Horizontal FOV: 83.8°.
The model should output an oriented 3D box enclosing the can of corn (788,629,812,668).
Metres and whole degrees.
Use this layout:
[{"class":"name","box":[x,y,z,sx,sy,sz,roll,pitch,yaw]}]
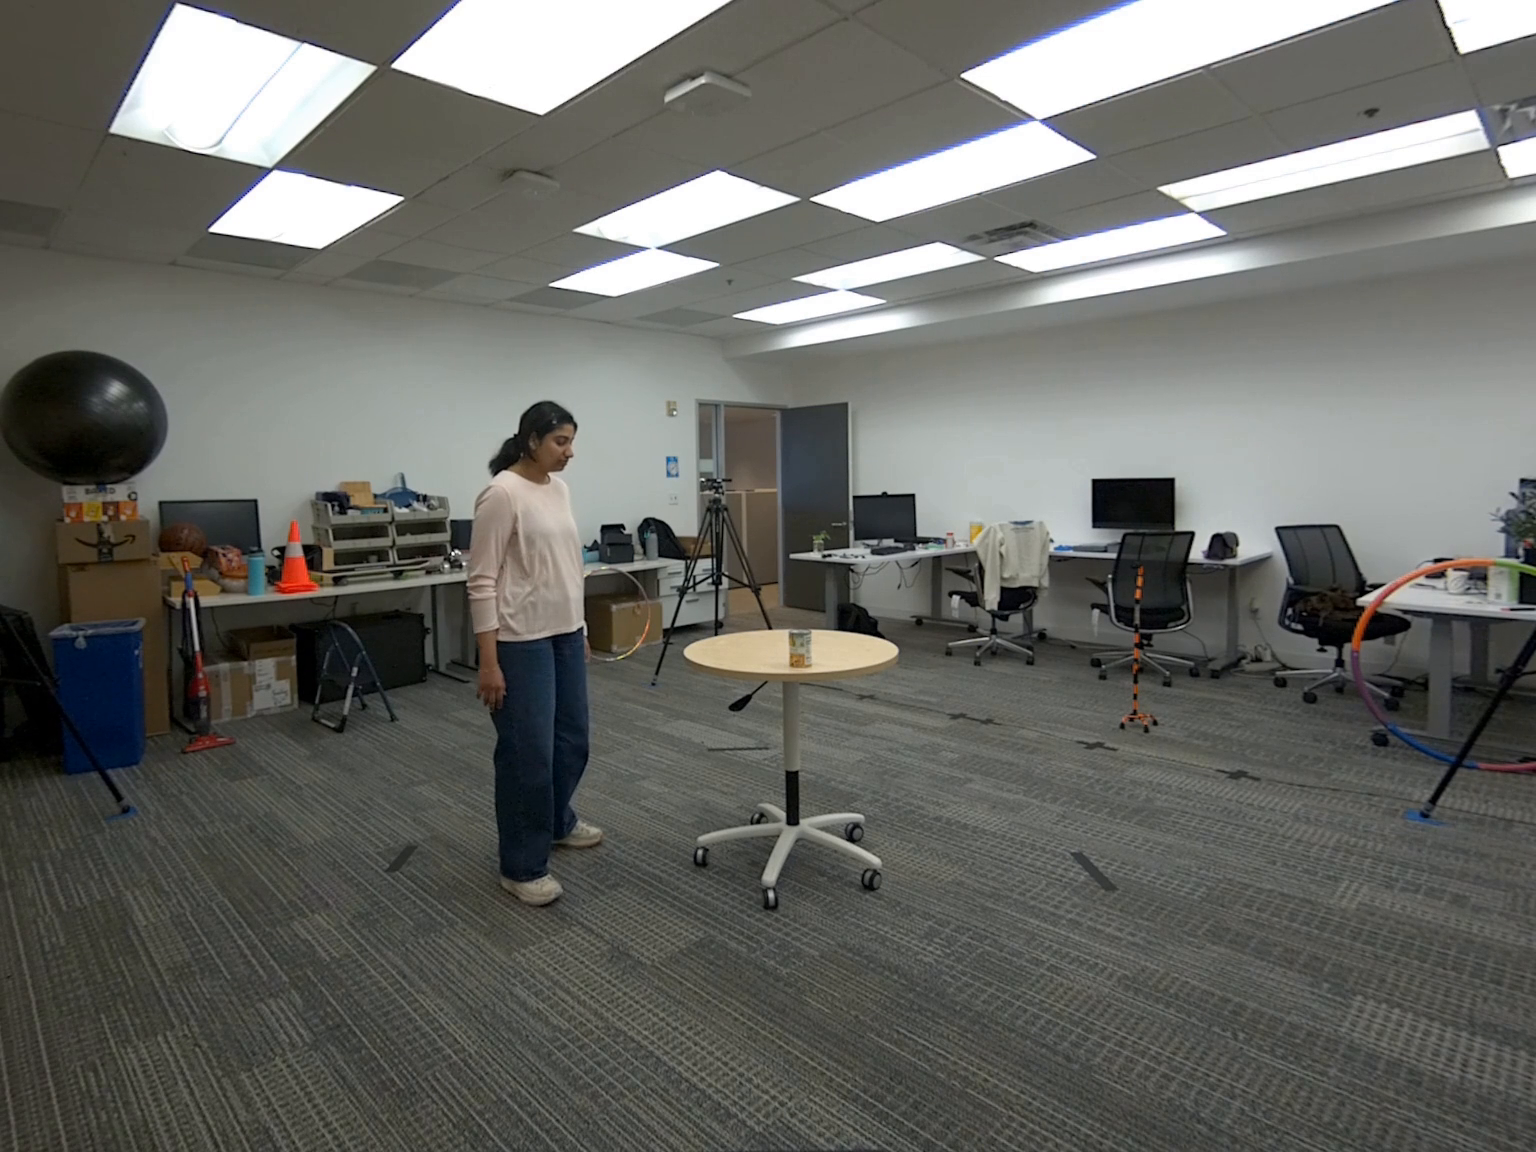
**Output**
[{"class":"can of corn","box":[0.102,0.234,2.792,0.074,0.110,0.074,-2,5,-2]}]
